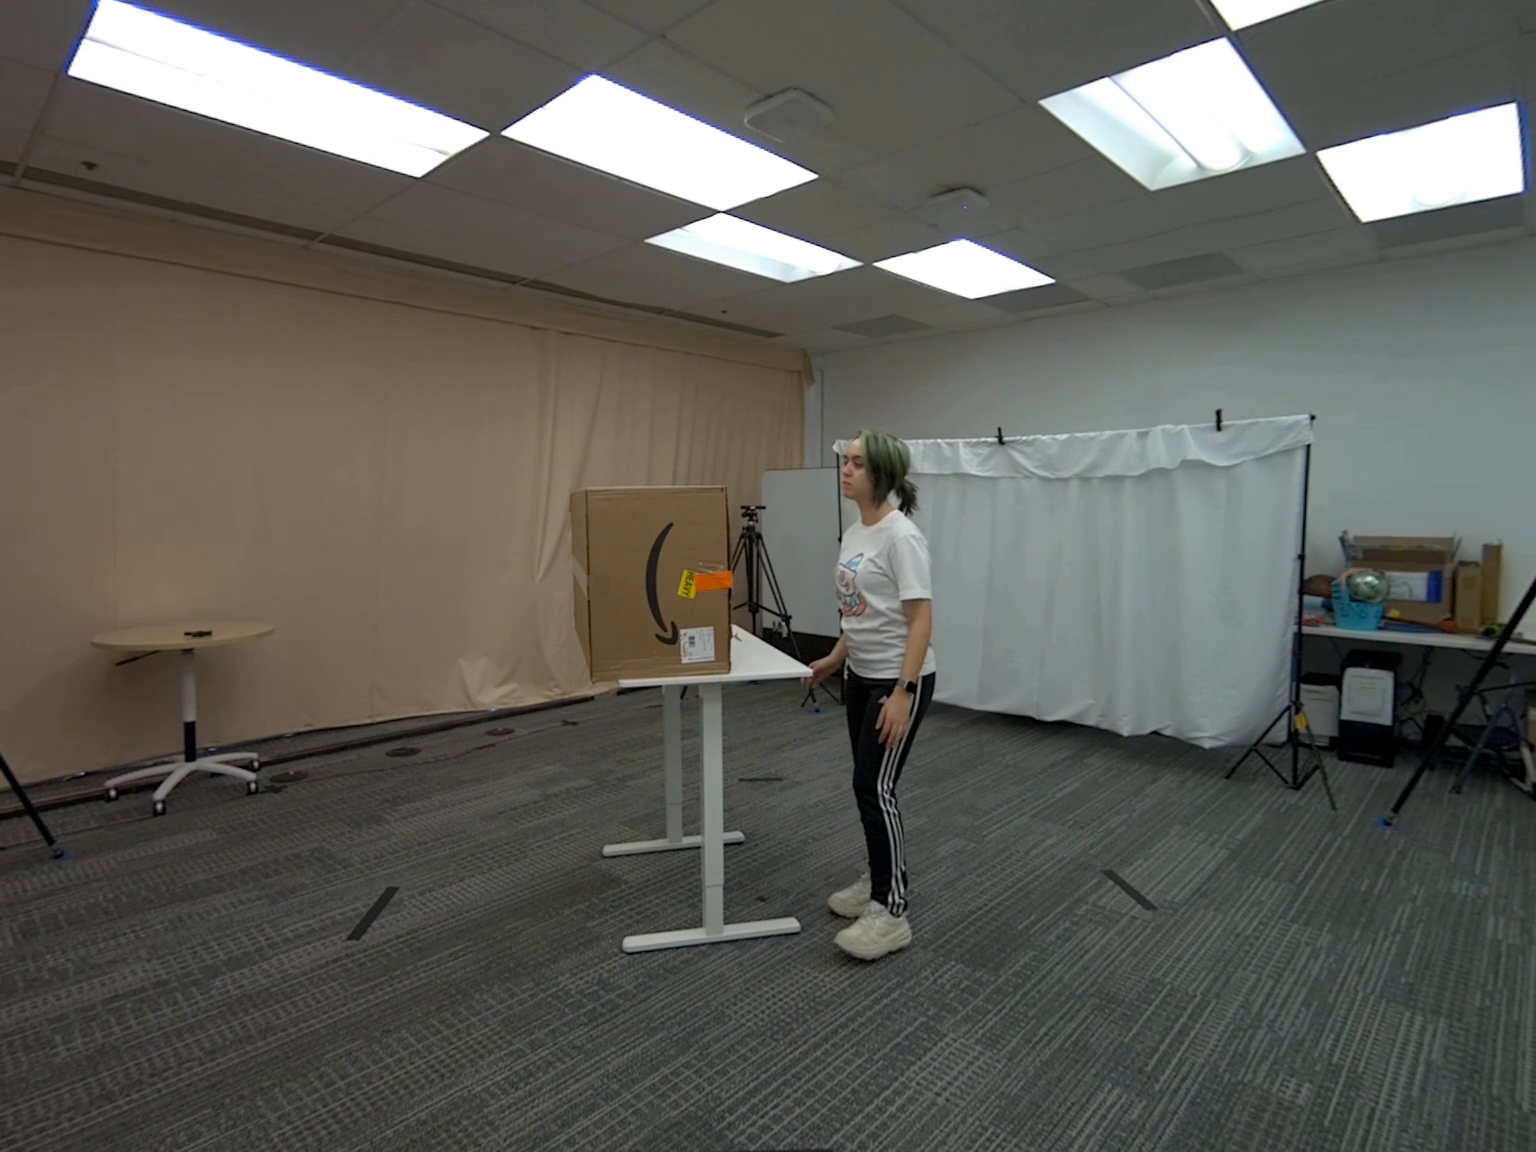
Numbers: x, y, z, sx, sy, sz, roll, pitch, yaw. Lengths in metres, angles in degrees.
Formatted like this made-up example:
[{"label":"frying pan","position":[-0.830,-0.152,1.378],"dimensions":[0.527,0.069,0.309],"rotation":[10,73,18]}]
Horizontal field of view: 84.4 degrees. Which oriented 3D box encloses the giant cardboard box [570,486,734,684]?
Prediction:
[{"label":"giant cardboard box","position":[-0.456,-0.027,3.002],"dimensions":[0.440,0.582,1.045],"rotation":[0,5,-15]}]
